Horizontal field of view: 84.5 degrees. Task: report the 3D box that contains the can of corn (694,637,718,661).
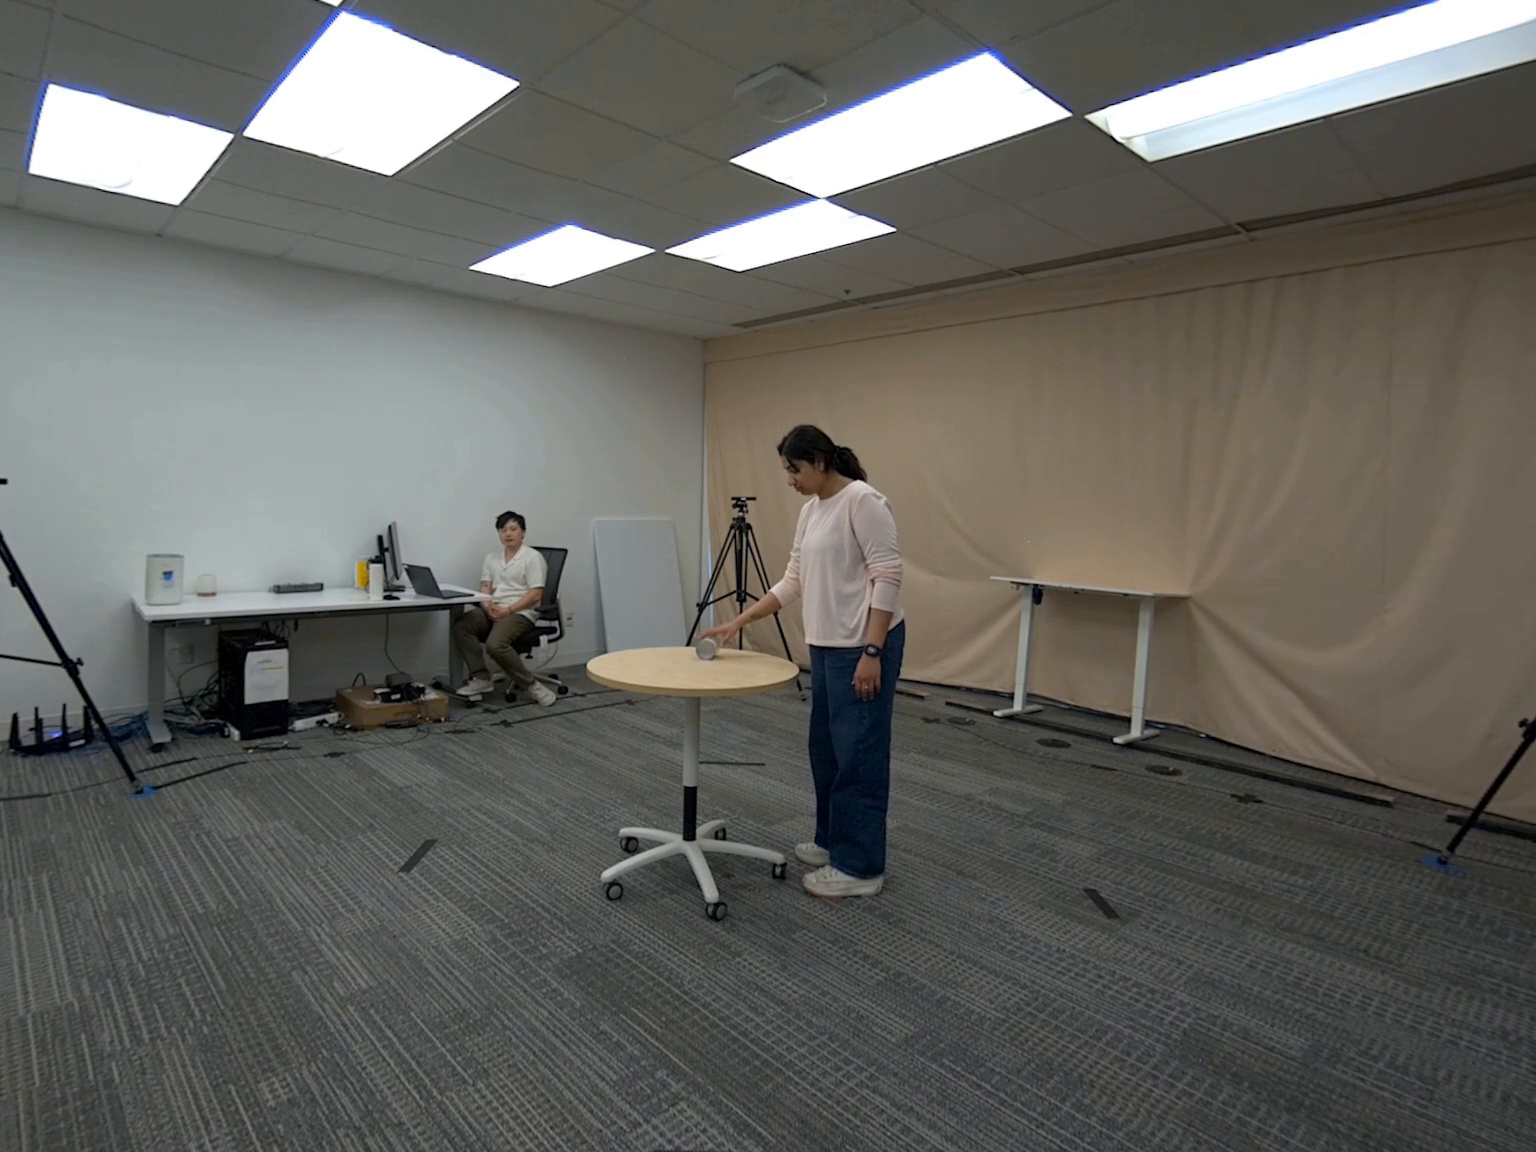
[{"bbox_3d":[-0.231,0.271,3.212,0.074,0.074,0.111,2,6,5],"label":"can of corn"}]
